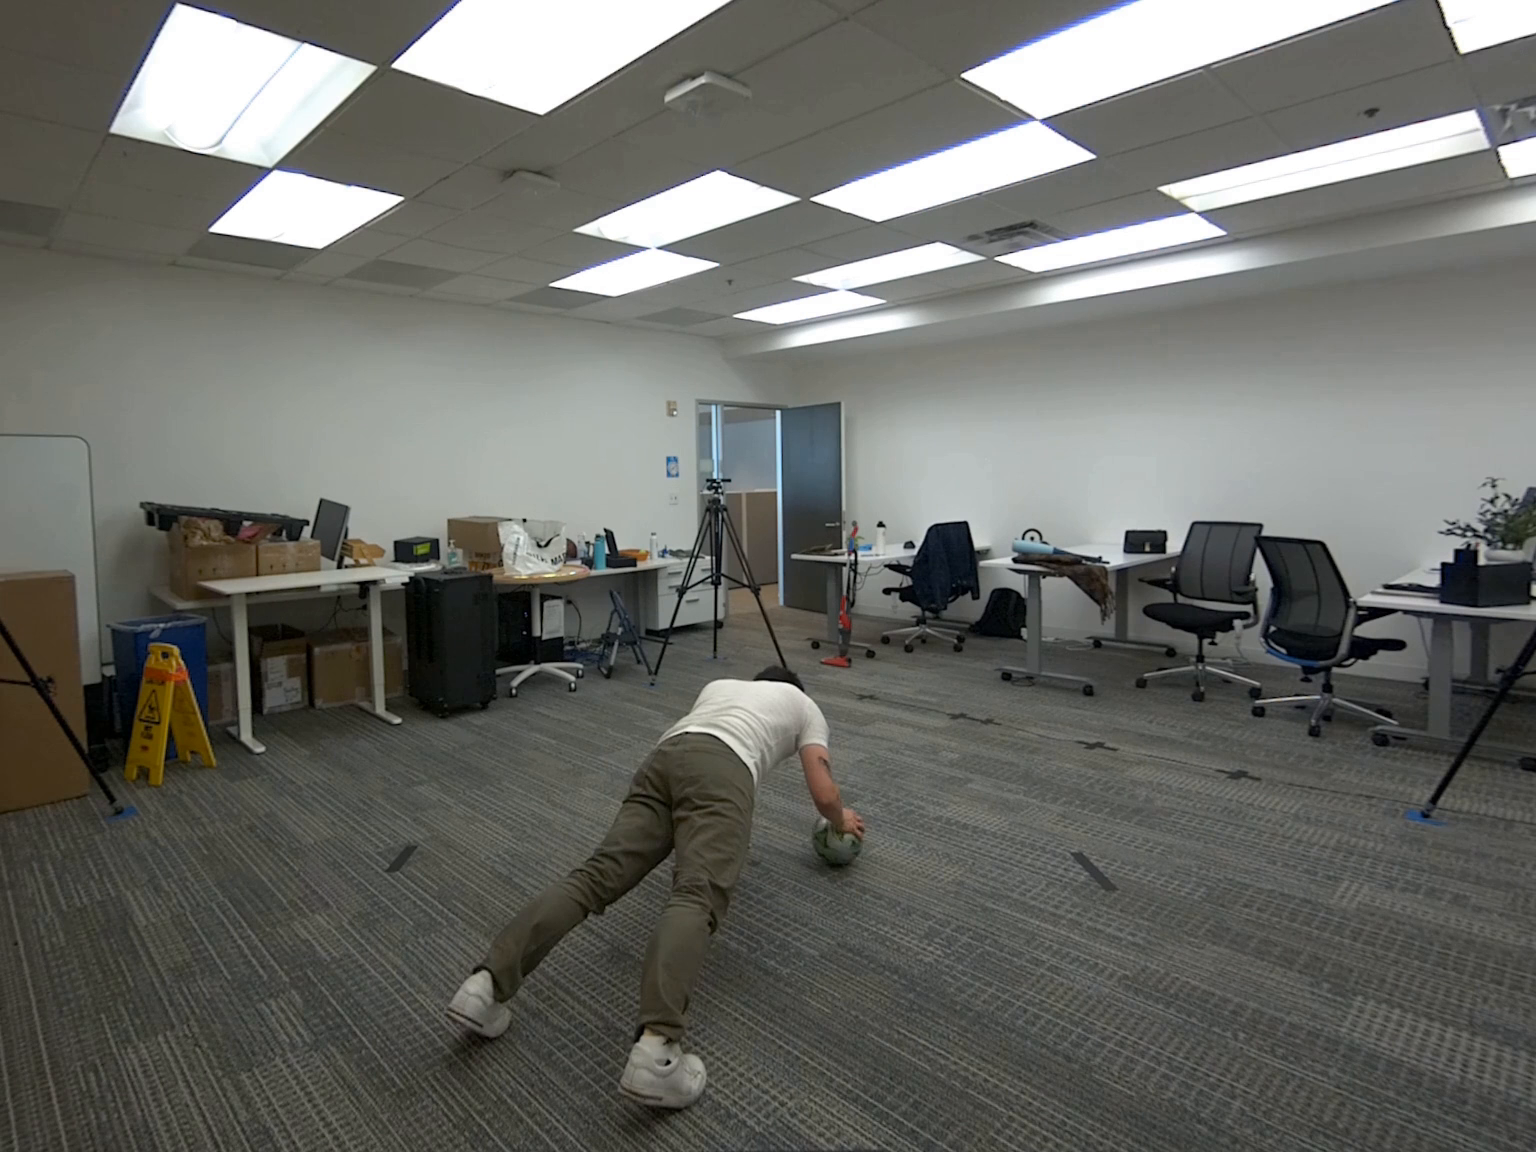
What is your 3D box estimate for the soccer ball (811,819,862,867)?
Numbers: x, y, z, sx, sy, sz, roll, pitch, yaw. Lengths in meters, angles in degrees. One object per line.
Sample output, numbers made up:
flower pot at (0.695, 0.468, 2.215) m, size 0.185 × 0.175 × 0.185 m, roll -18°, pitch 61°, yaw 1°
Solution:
soccer ball at (0.243, 0.940, 3.091) m, size 0.187 × 0.187 × 0.188 m, roll -1°, pitch 5°, yaw -2°
